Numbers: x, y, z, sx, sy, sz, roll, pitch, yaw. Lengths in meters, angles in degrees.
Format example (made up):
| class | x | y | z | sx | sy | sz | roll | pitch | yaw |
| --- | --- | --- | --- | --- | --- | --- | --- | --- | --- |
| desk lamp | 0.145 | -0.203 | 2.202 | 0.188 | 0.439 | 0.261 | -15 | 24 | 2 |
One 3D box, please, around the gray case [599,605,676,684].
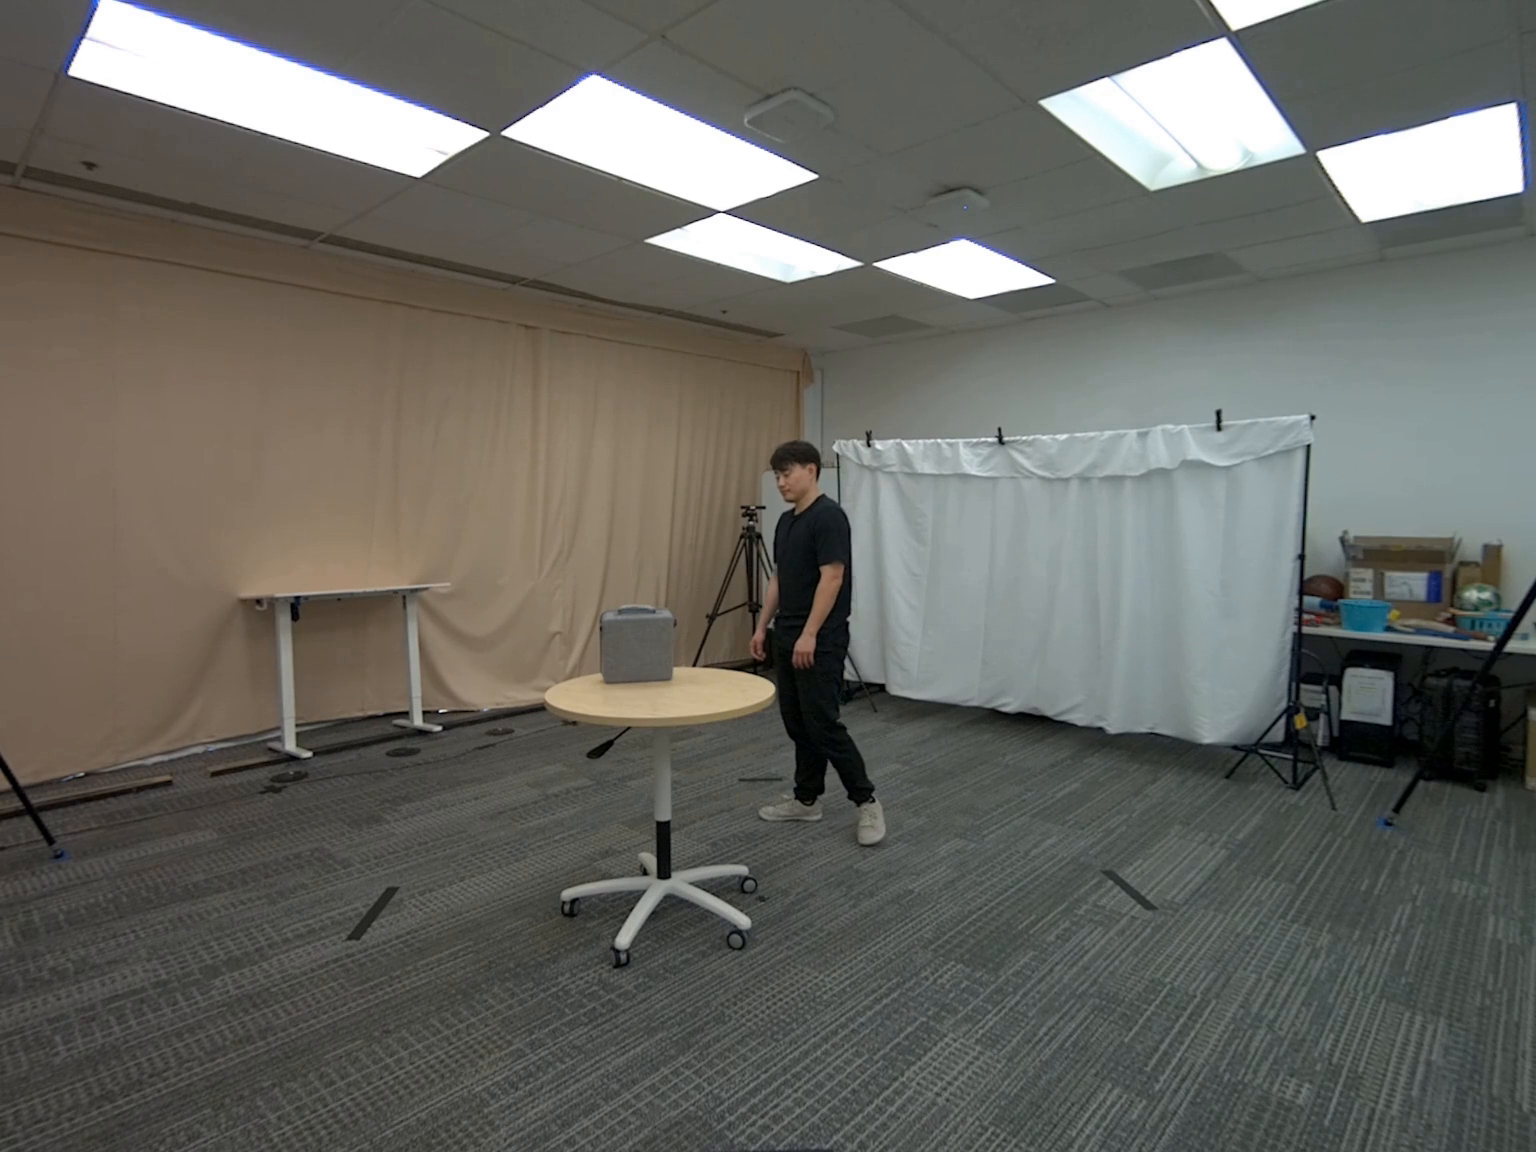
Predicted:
| class | x | y | z | sx | sy | sz | roll | pitch | yaw |
| --- | --- | --- | --- | --- | --- | --- | --- | --- | --- |
| gray case | -0.456 | 0.239 | 2.942 | 0.255 | 0.258 | 0.106 | -1 | 13 | -8 |
